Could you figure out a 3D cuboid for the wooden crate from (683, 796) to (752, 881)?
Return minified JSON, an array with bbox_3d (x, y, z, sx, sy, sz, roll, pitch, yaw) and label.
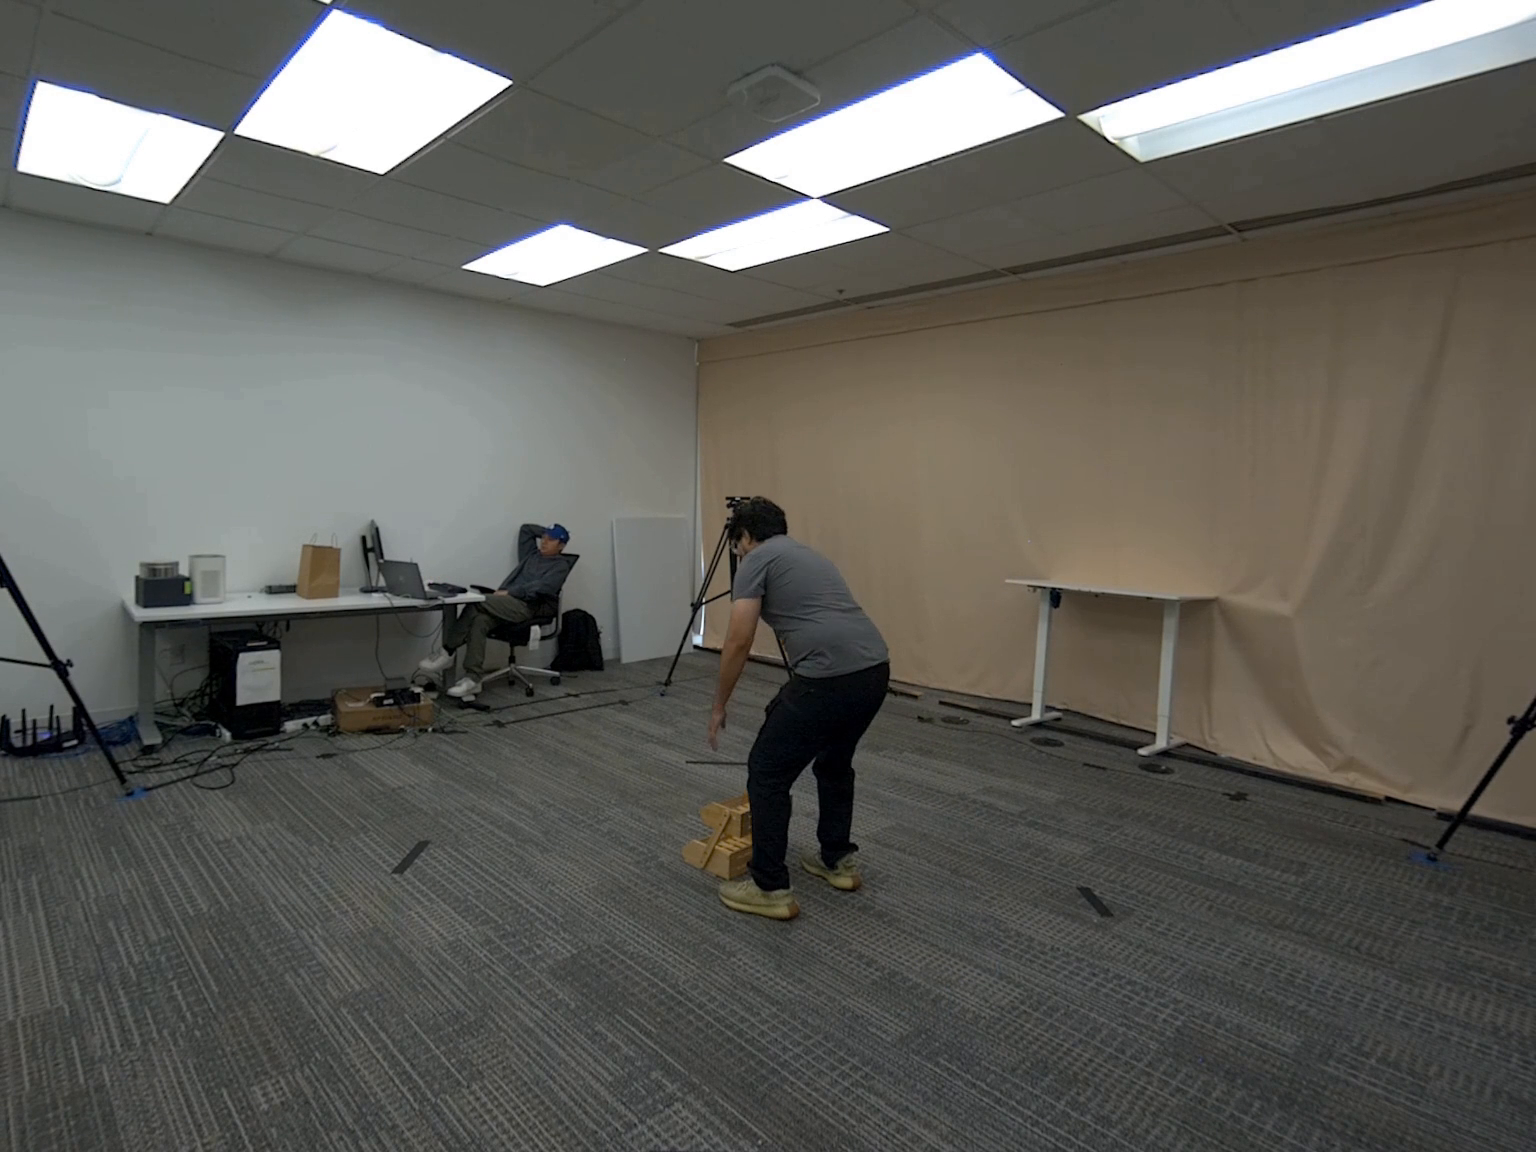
[{"bbox_3d":[-0.123,0.957,3.238,0.310,0.272,0.317,5,5,41],"label":"wooden crate"}]
